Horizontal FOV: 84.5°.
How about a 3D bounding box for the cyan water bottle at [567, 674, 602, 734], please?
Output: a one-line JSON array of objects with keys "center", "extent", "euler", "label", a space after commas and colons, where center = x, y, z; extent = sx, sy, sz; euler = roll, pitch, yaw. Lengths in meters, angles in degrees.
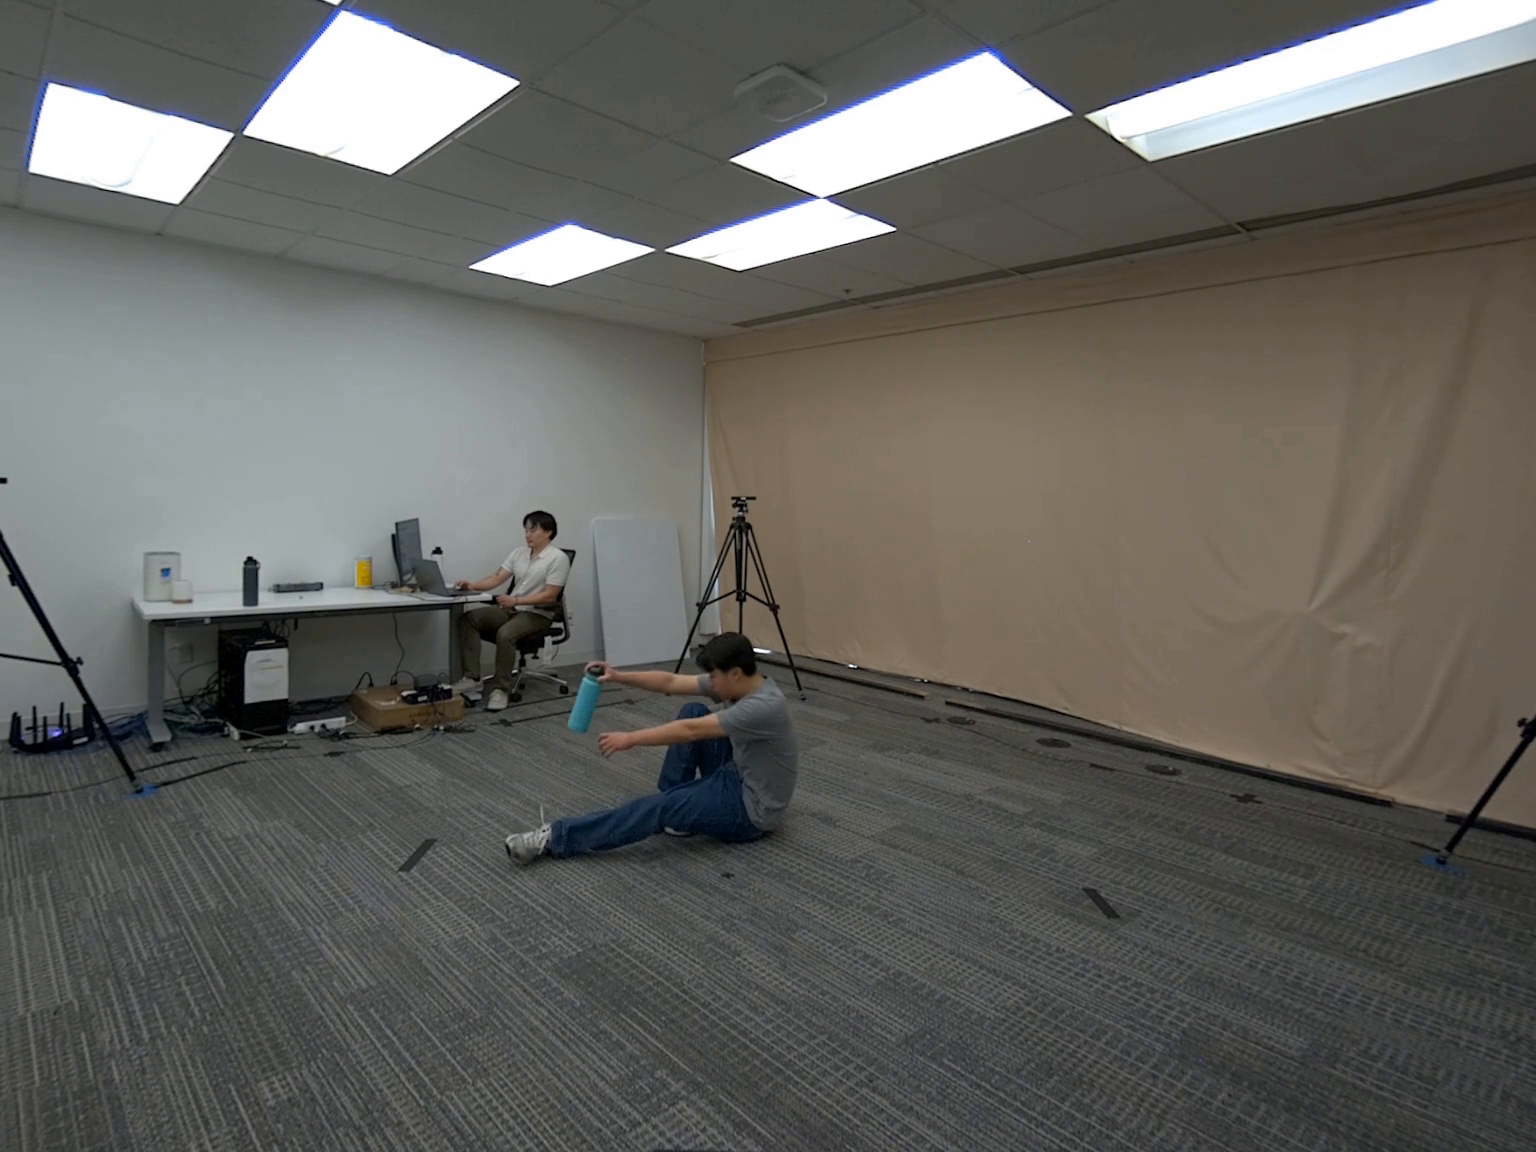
[{"center": [-0.757, 0.519, 3.539], "extent": [0.092, 0.282, 0.093], "euler": [18, 6, -3], "label": "cyan water bottle"}]
